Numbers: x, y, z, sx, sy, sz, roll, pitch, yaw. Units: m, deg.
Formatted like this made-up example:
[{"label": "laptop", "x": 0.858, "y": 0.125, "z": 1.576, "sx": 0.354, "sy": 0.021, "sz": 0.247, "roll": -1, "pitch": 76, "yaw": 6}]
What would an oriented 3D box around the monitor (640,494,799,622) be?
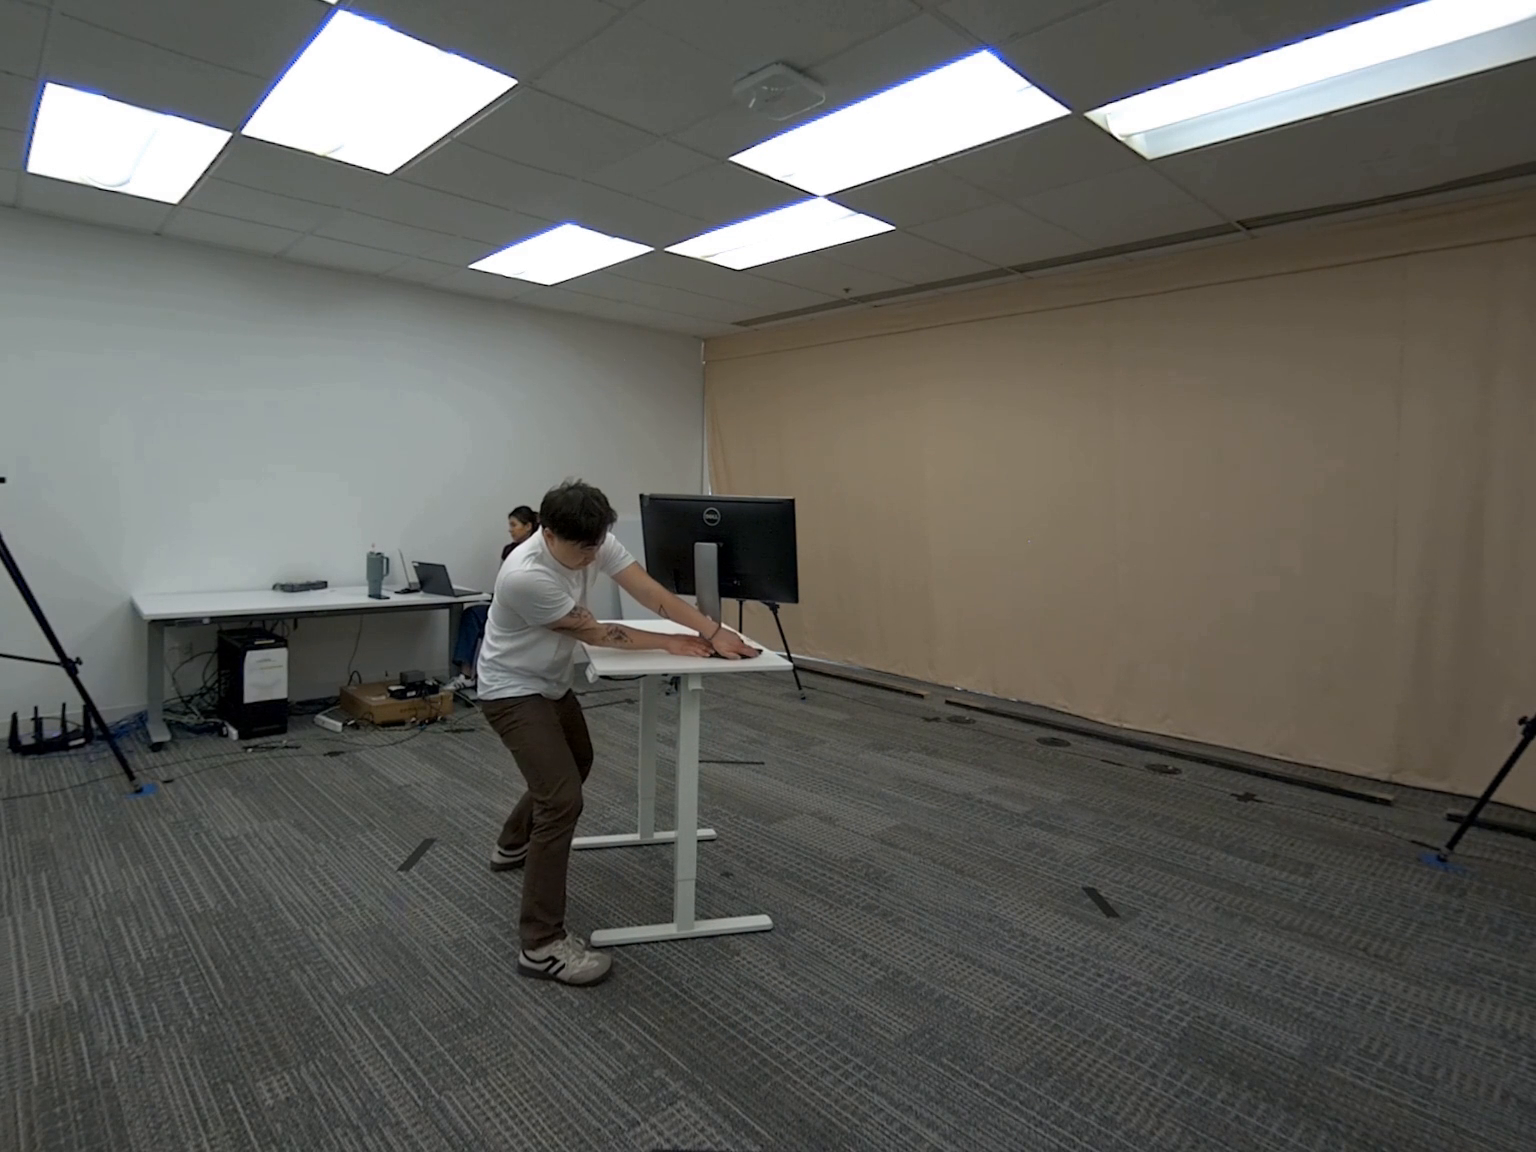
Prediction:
[{"label": "monitor", "x": -0.175, "y": -0.003, "z": 2.735, "sx": 0.547, "sy": 0.520, "sz": 0.185, "roll": 3, "pitch": 6, "yaw": 18}]
